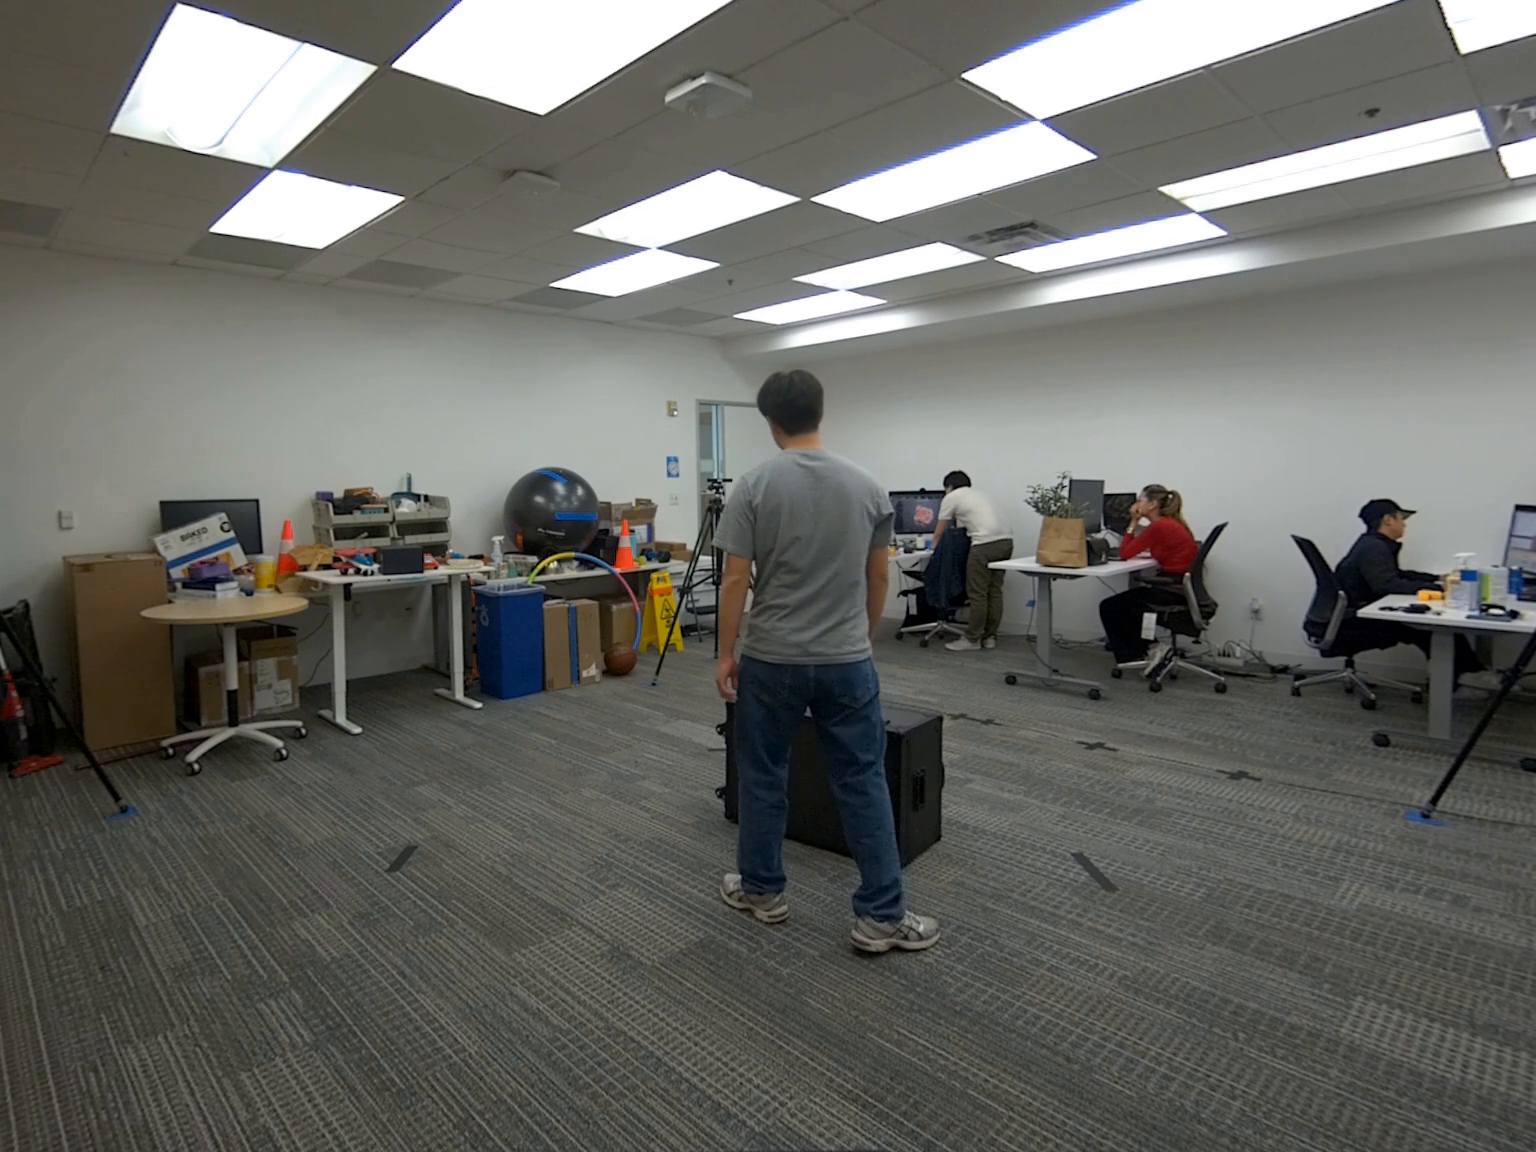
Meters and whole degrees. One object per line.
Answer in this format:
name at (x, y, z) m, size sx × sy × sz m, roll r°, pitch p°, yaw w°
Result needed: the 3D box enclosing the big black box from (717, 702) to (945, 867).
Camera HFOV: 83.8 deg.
big black box at (0.228, 0.752, 3.403) m, size 0.887 × 0.520 × 0.386 m, roll 3°, pitch 4°, yaw 36°
